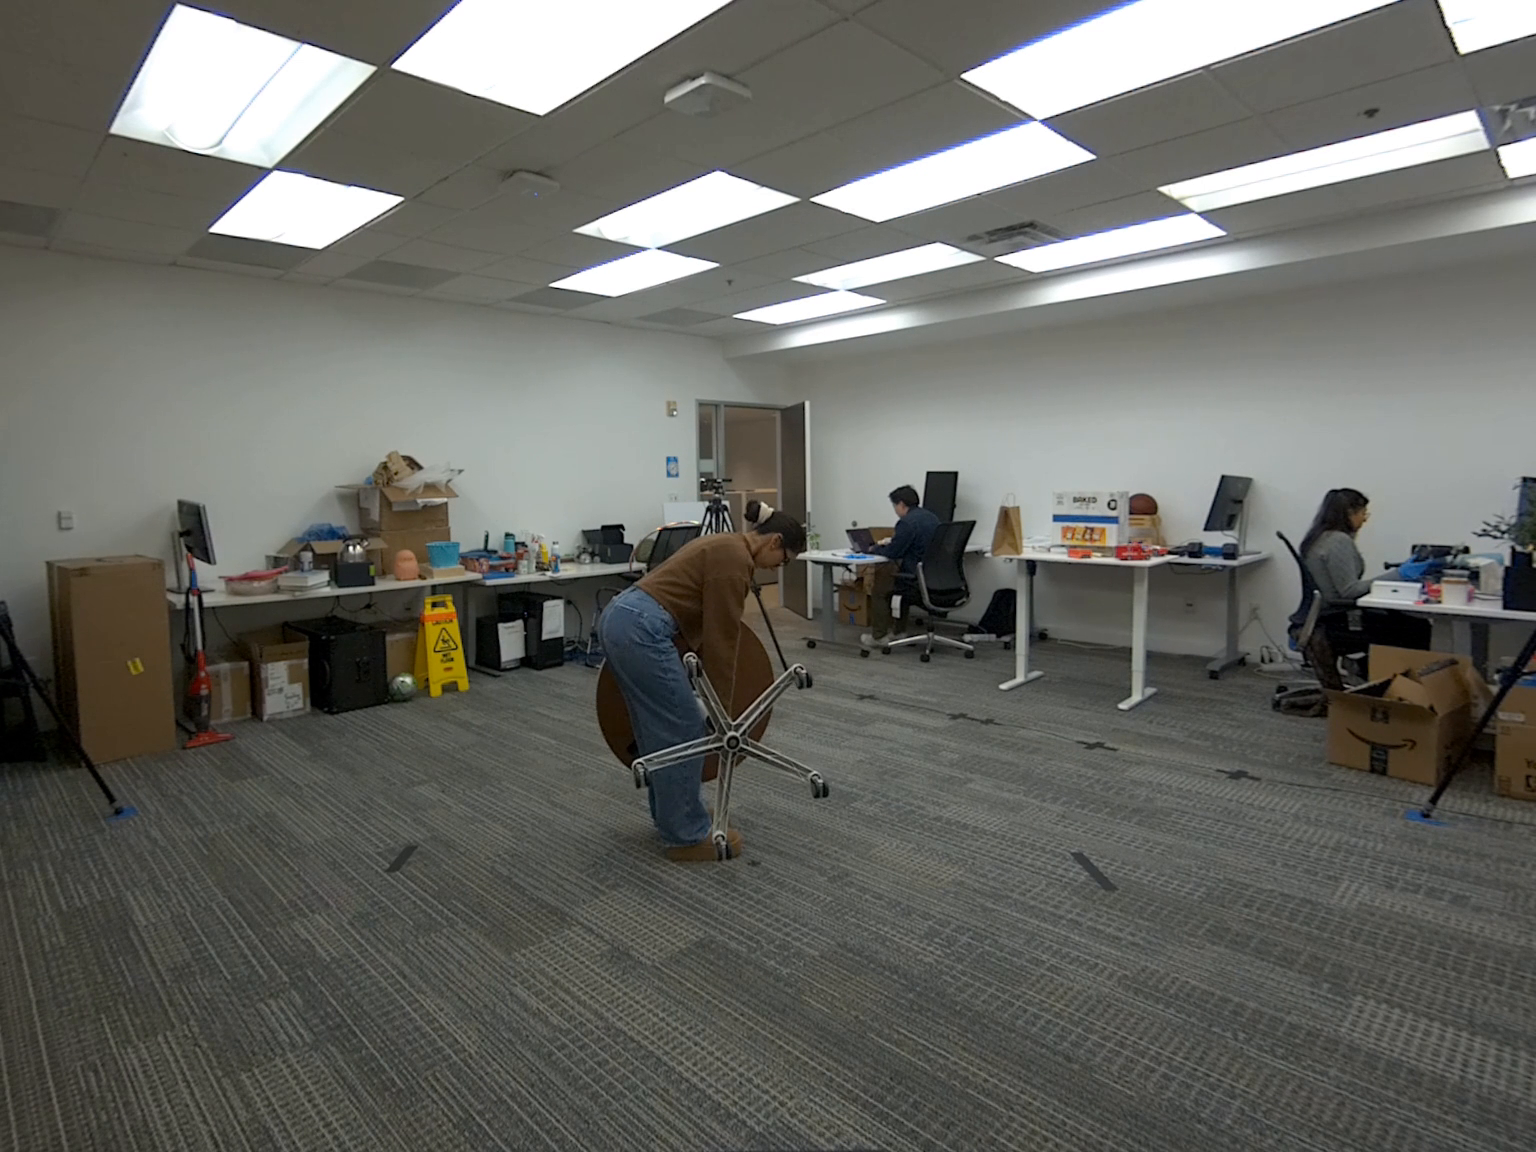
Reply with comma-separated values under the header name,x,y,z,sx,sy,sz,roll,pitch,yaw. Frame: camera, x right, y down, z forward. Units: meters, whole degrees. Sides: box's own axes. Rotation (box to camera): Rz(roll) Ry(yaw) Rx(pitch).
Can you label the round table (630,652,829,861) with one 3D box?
name,x,y,z,sx,sy,sz,roll,pitch,yaw
round table,-0.214,0.544,3.195,0.752,0.760,0.810,-2,6,-17
